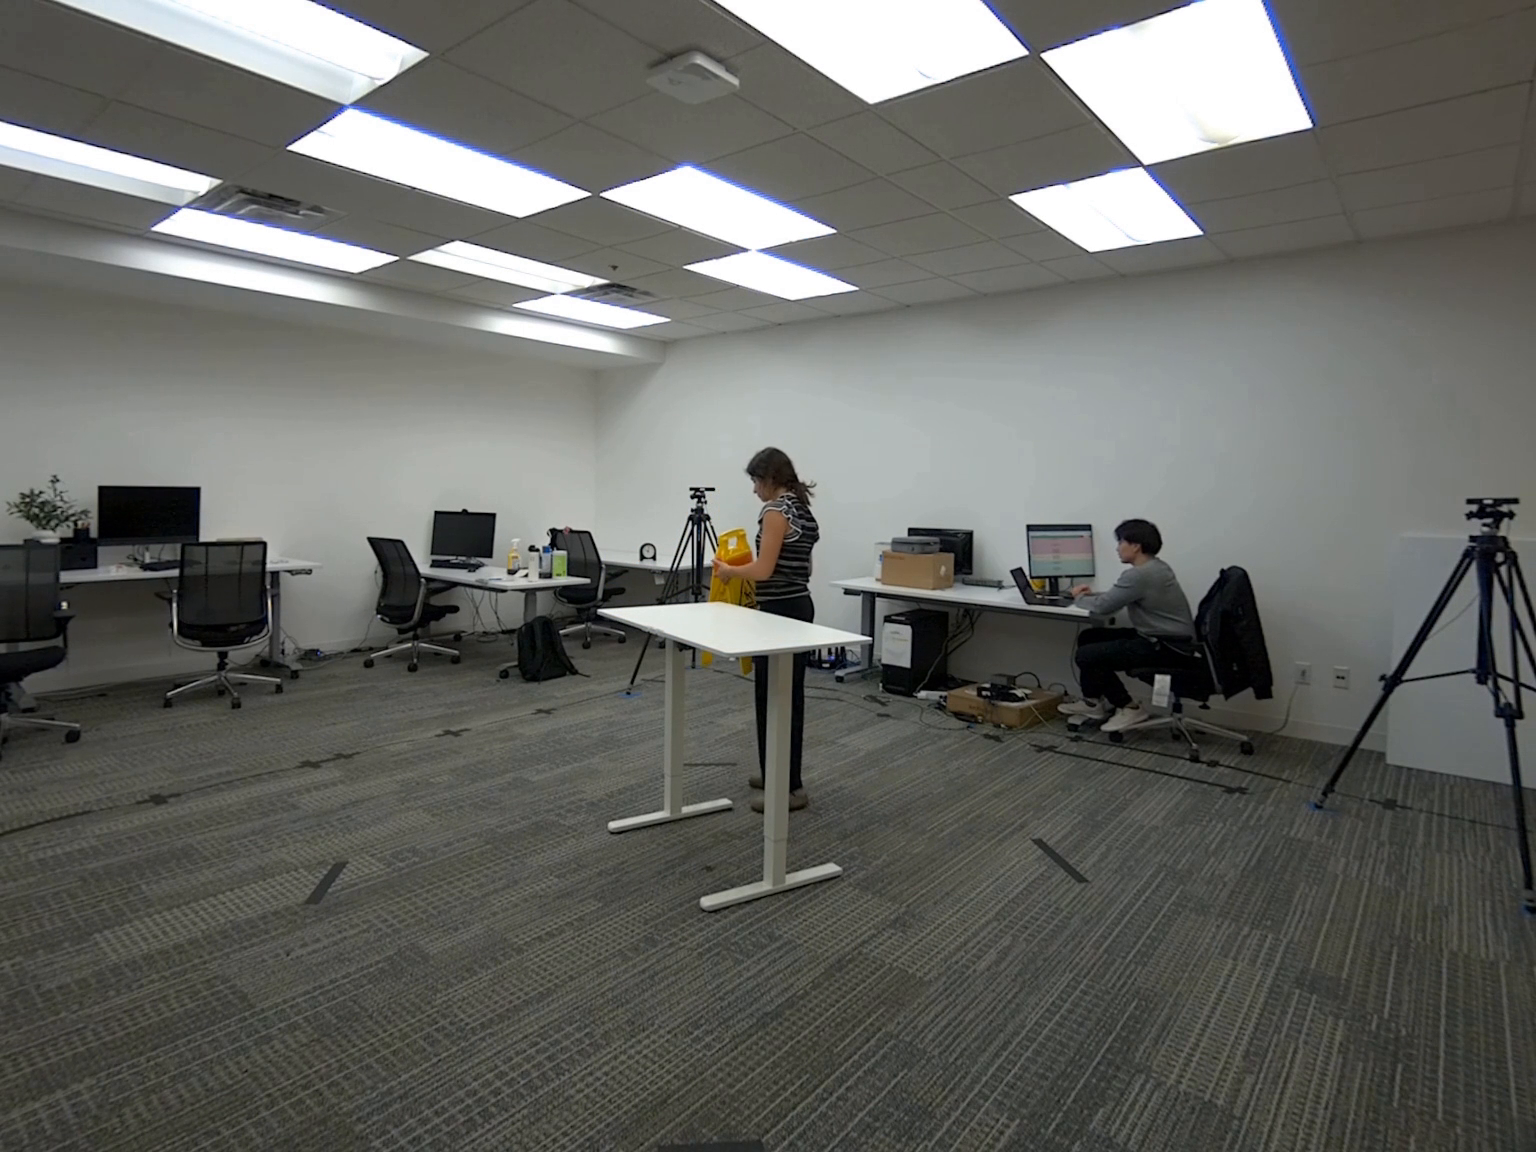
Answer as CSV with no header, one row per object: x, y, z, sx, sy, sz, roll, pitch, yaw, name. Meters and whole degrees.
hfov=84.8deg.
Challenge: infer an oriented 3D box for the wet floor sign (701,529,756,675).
-0.159,0.095,4.071,0.299,0.639,0.276,5,13,34,wet floor sign
